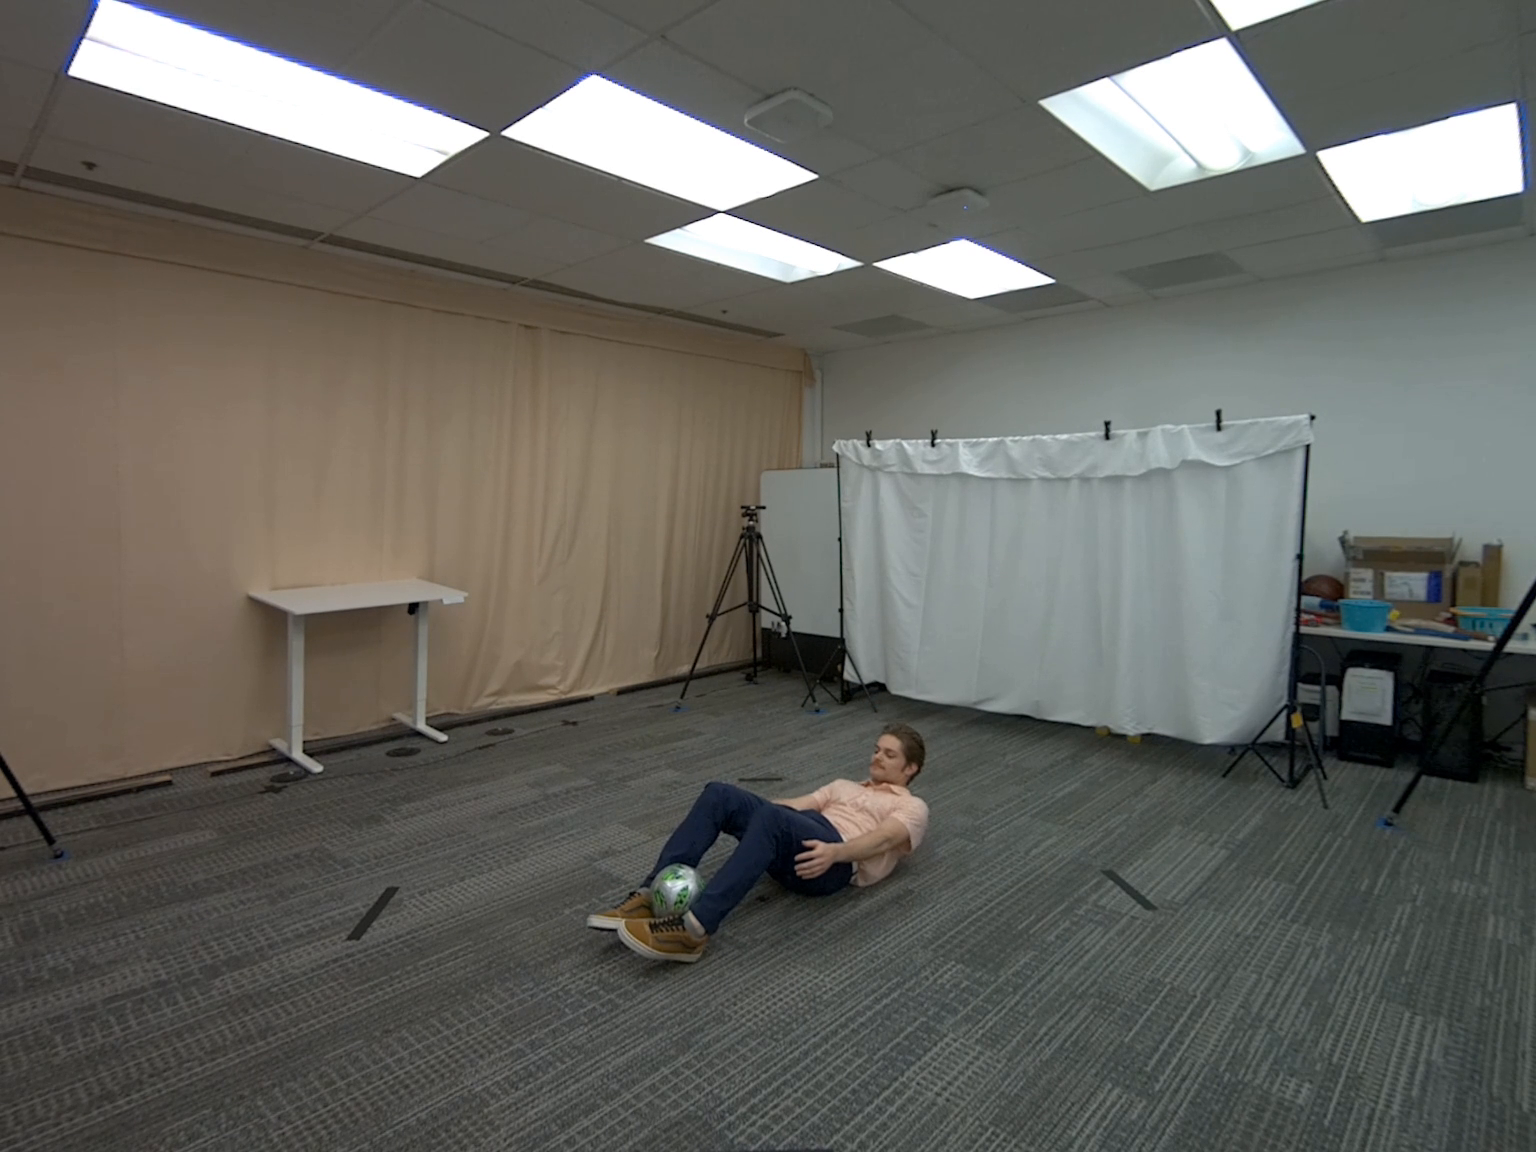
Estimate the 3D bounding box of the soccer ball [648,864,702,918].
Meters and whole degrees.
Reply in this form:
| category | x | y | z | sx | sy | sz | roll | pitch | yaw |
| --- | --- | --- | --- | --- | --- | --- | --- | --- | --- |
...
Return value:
| category | x | y | z | sx | sy | sz | roll | pitch | yaw |
| --- | --- | --- | --- | --- | --- | --- | --- | --- | --- |
| soccer ball | -0.284 | 1.013 | 2.689 | 0.187 | 0.187 | 0.188 | 0 | 4 | -2 |
